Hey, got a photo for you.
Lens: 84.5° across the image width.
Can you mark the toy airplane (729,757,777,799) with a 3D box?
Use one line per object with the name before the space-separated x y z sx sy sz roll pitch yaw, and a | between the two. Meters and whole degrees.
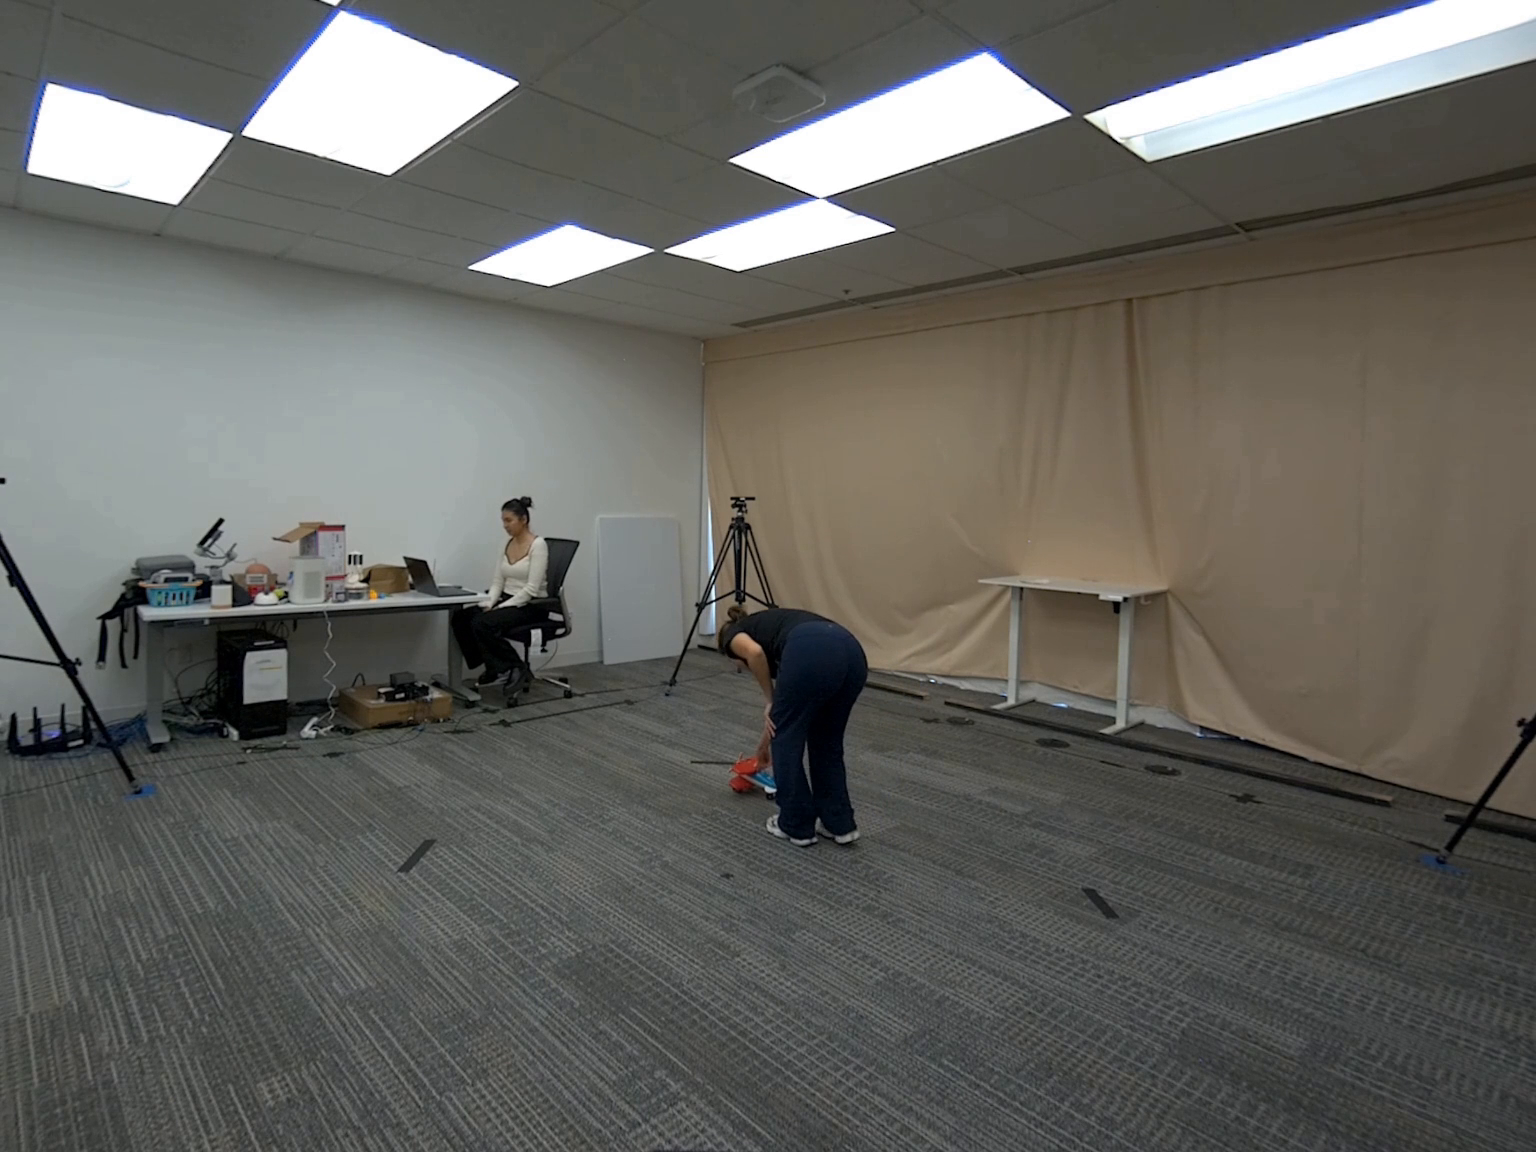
toy airplane | -0.050 0.960 3.987 0.262 0.156 0.249 1 5 12
